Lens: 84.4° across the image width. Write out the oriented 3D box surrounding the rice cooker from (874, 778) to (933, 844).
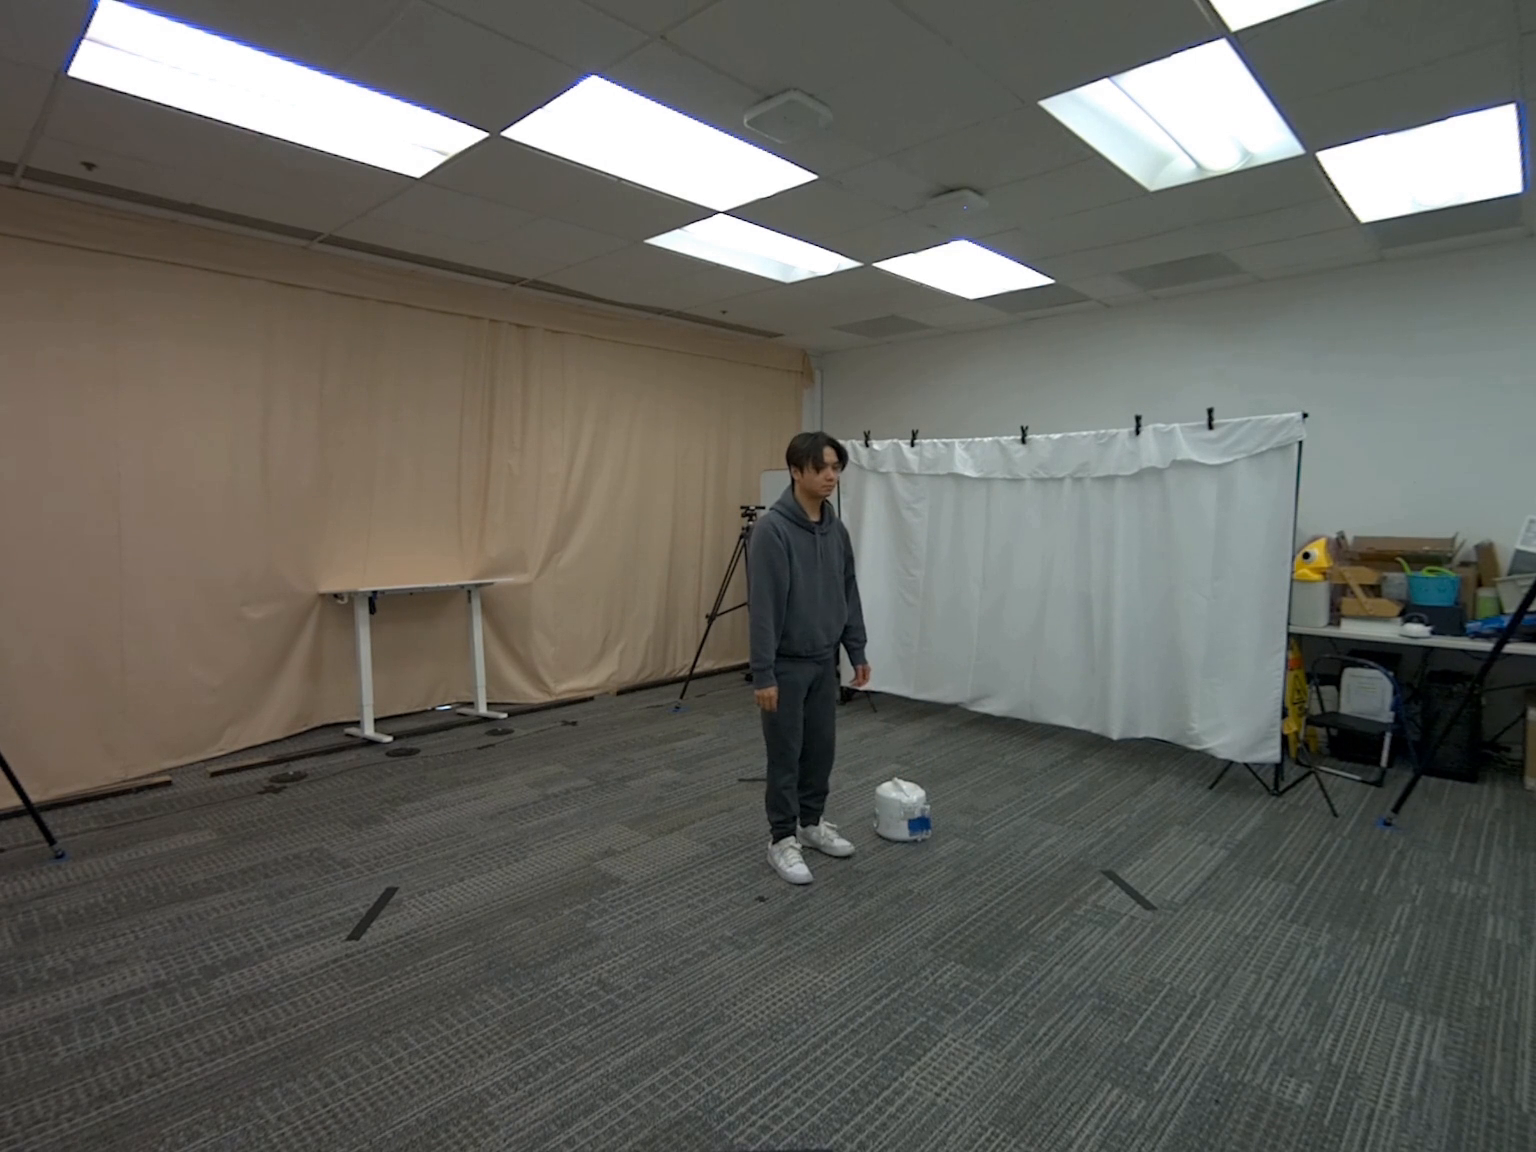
[{"bbox_3d":[0.561,0.982,3.553,0.215,0.232,0.223,0,4,-9],"label":"rice cooker"}]
